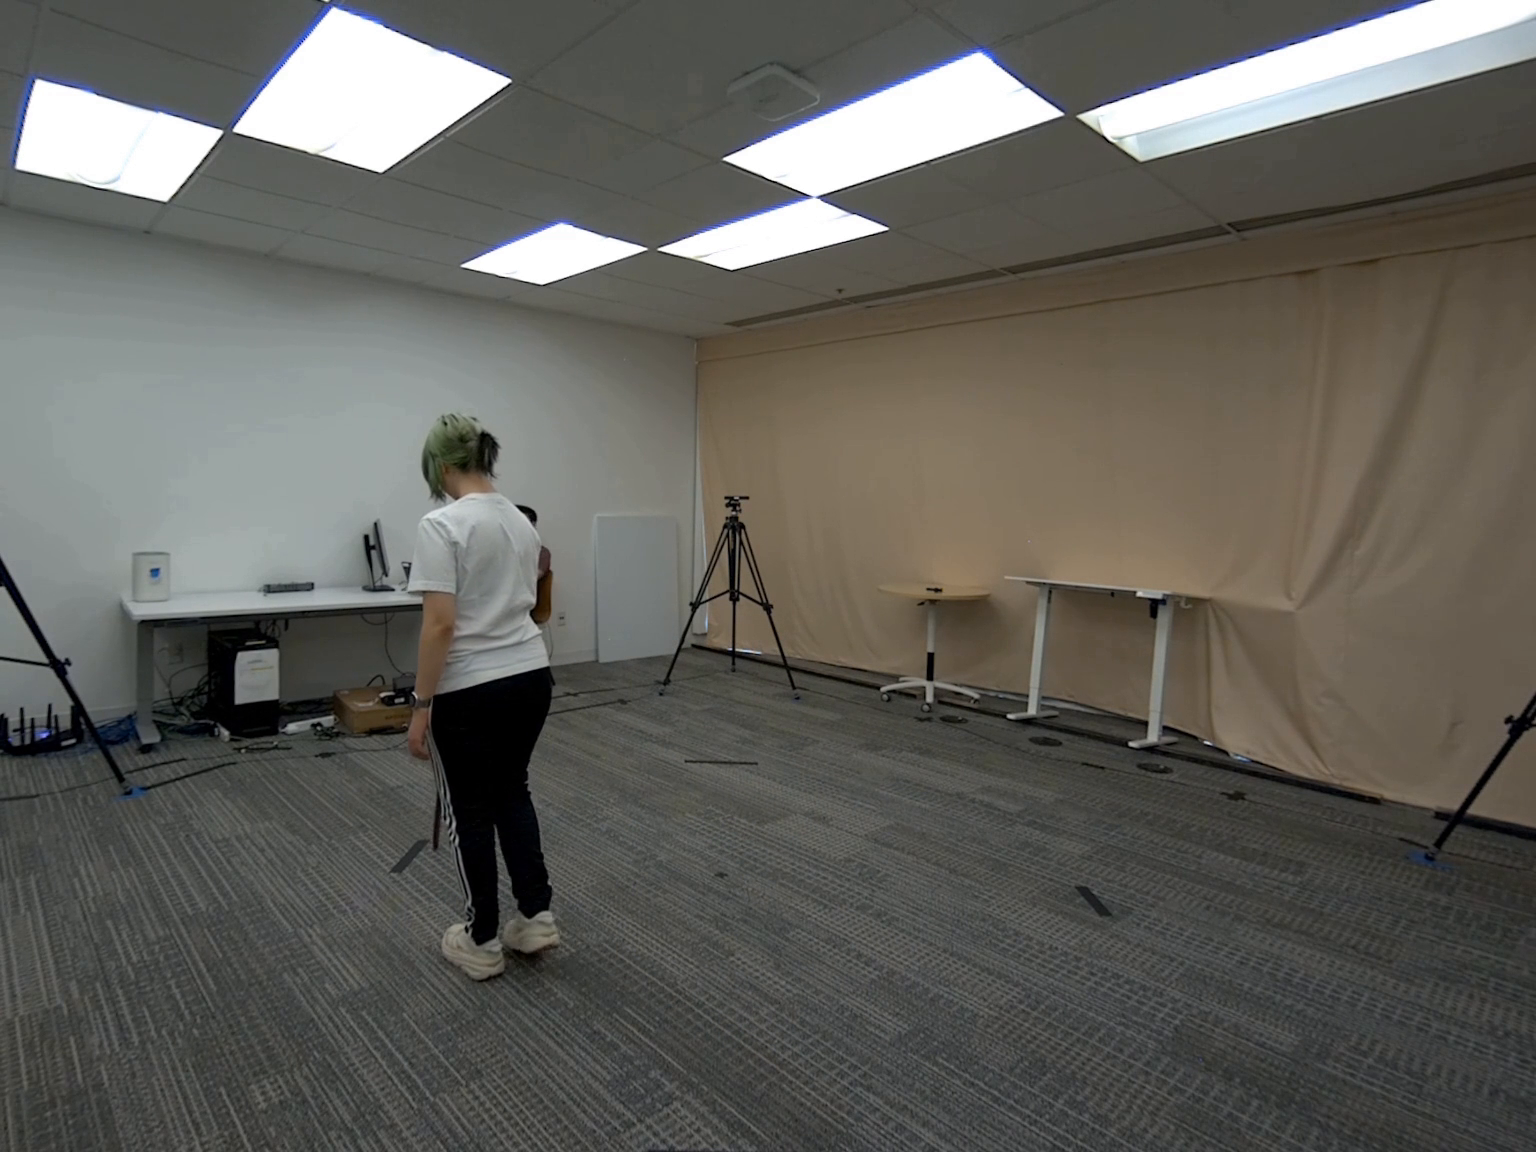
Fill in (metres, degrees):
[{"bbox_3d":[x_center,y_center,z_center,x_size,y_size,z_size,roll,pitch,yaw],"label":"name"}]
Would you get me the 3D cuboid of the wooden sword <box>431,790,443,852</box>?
[{"bbox_3d":[-1.148,0.731,2.954,0.050,1.015,0.024,-22,60,-42],"label":"wooden sword"}]
